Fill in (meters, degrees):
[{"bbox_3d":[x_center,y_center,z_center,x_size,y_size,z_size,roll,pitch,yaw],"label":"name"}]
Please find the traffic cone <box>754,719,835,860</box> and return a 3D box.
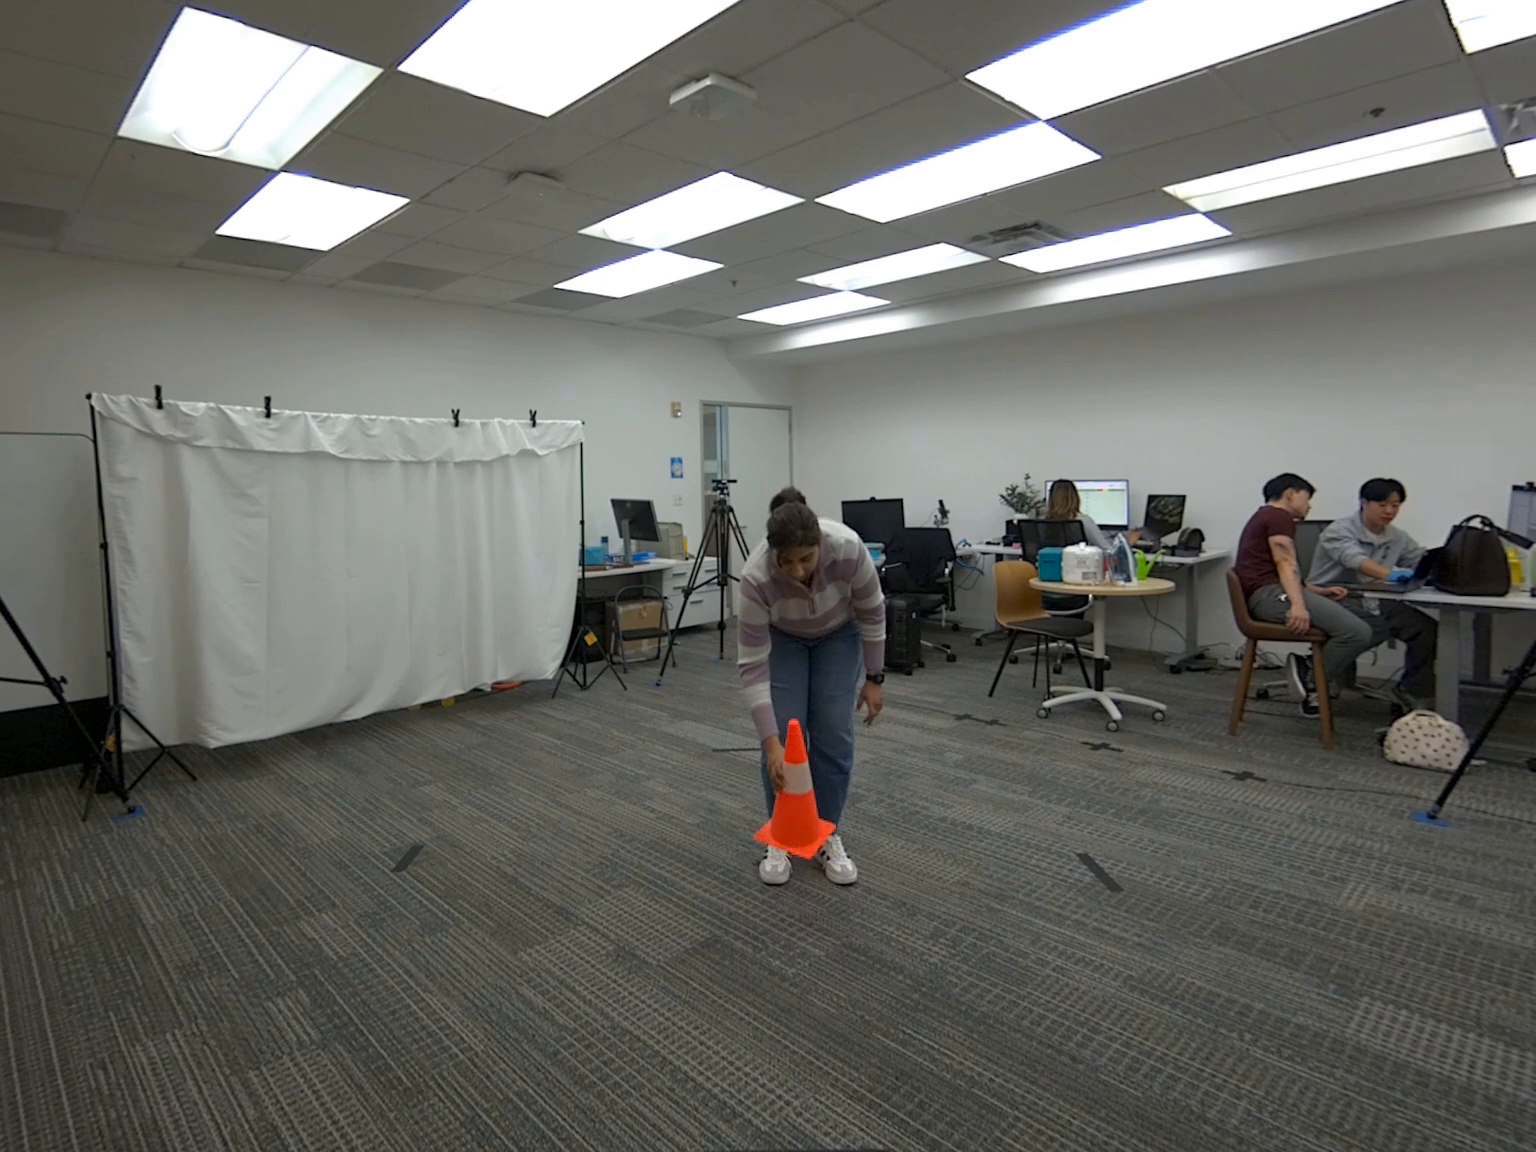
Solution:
[{"bbox_3d":[0.084,0.621,2.612,0.211,0.379,0.200,7,17,31],"label":"traffic cone"}]
